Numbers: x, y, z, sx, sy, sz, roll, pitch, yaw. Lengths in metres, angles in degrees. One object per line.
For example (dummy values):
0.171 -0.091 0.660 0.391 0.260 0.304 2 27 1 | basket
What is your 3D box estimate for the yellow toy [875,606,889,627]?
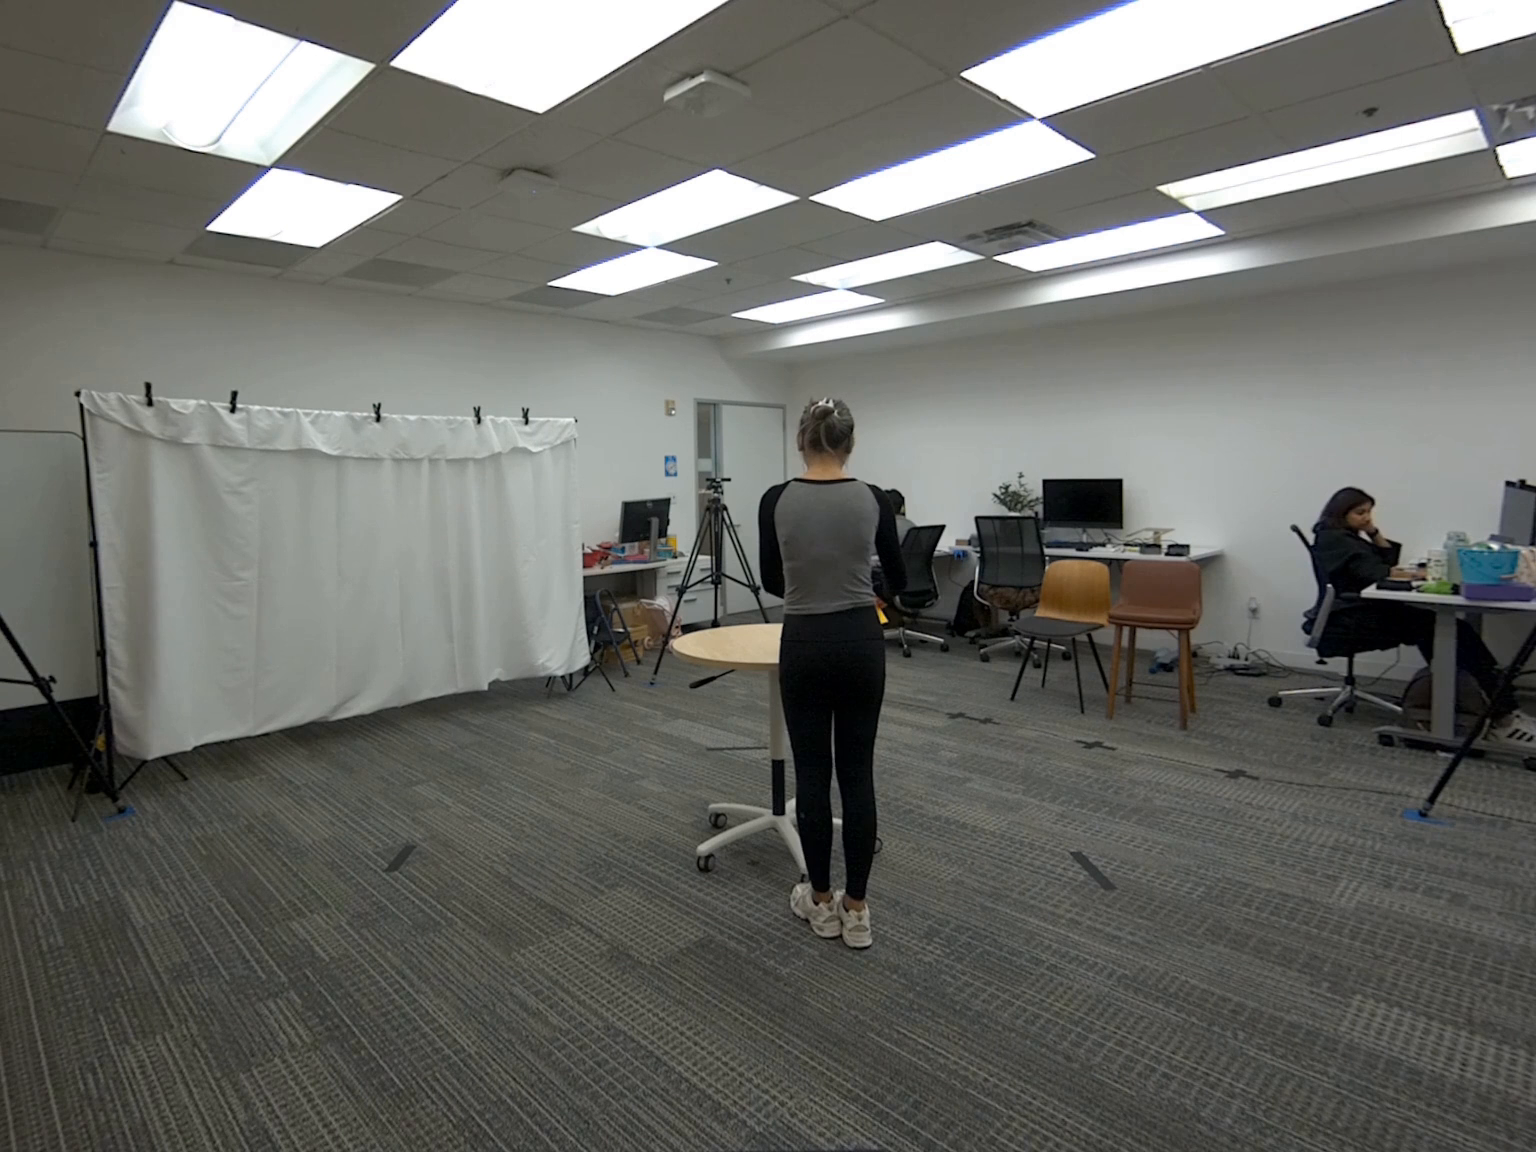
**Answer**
0.303 0.135 3.030 0.198 0.230 0.200 1 5 37 | yellow toy
